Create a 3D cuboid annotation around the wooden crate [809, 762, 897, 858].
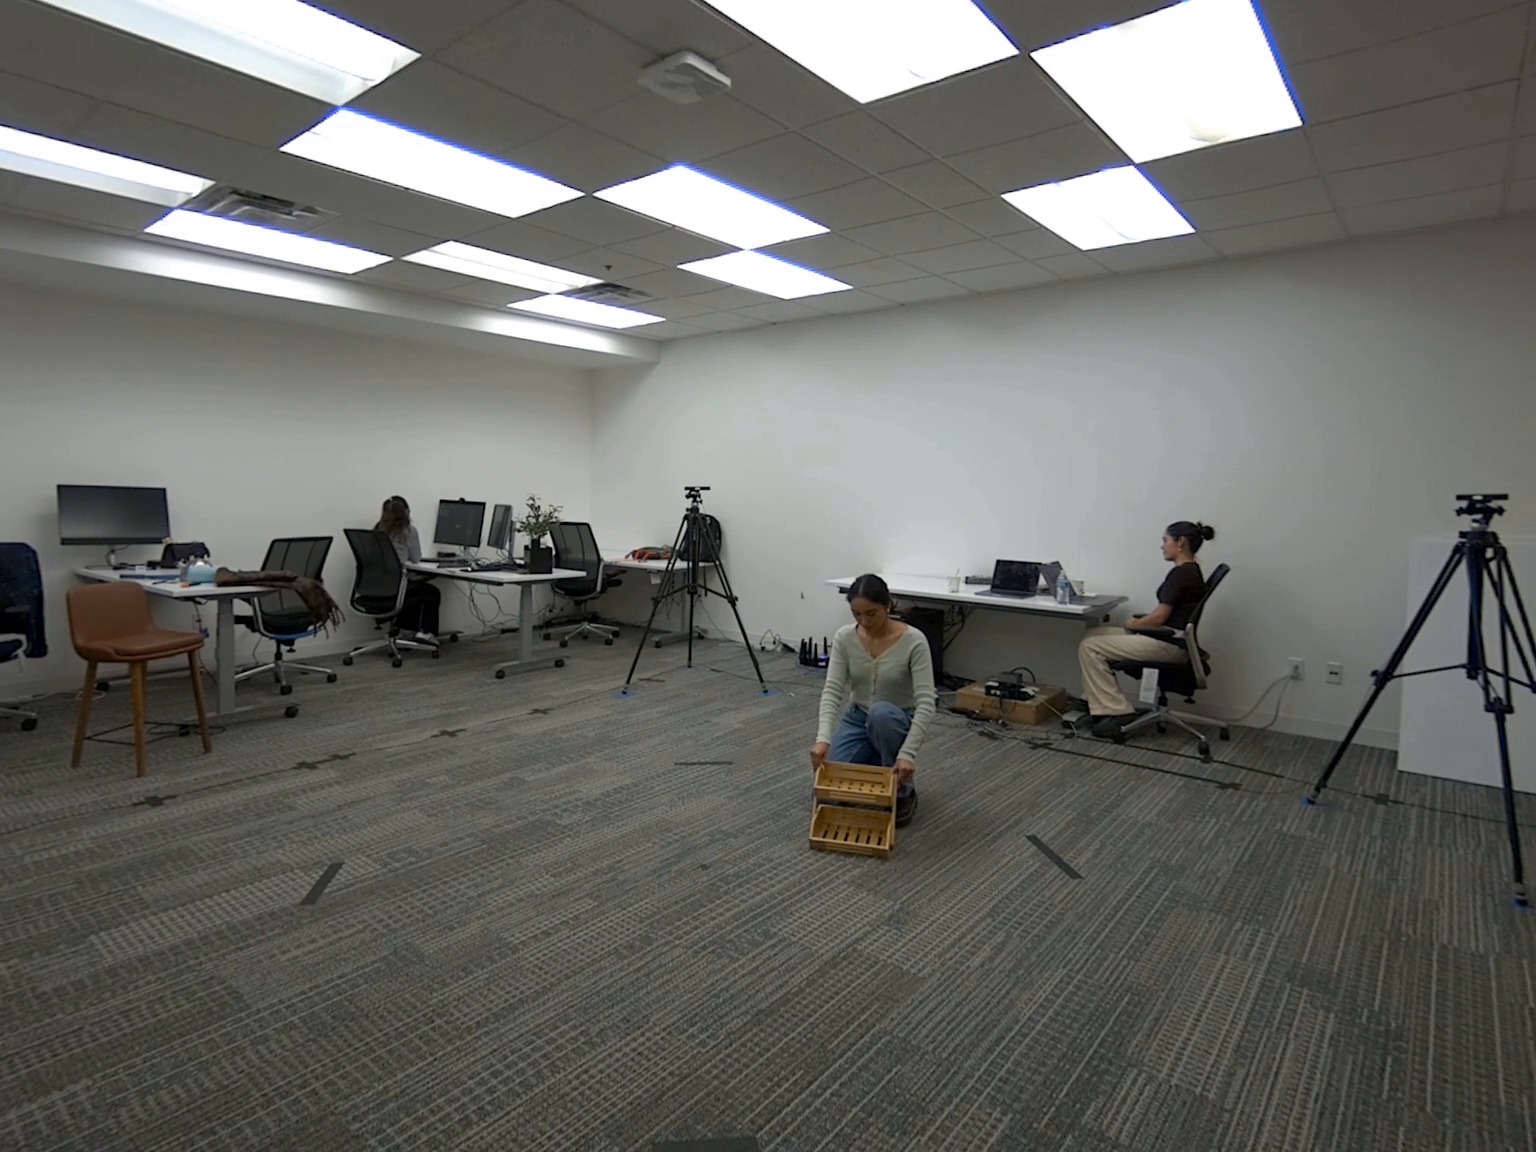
[{"bbox_3d":[0.332,0.915,3.371,0.330,0.272,0.298,3,4,14],"label":"wooden crate"}]
